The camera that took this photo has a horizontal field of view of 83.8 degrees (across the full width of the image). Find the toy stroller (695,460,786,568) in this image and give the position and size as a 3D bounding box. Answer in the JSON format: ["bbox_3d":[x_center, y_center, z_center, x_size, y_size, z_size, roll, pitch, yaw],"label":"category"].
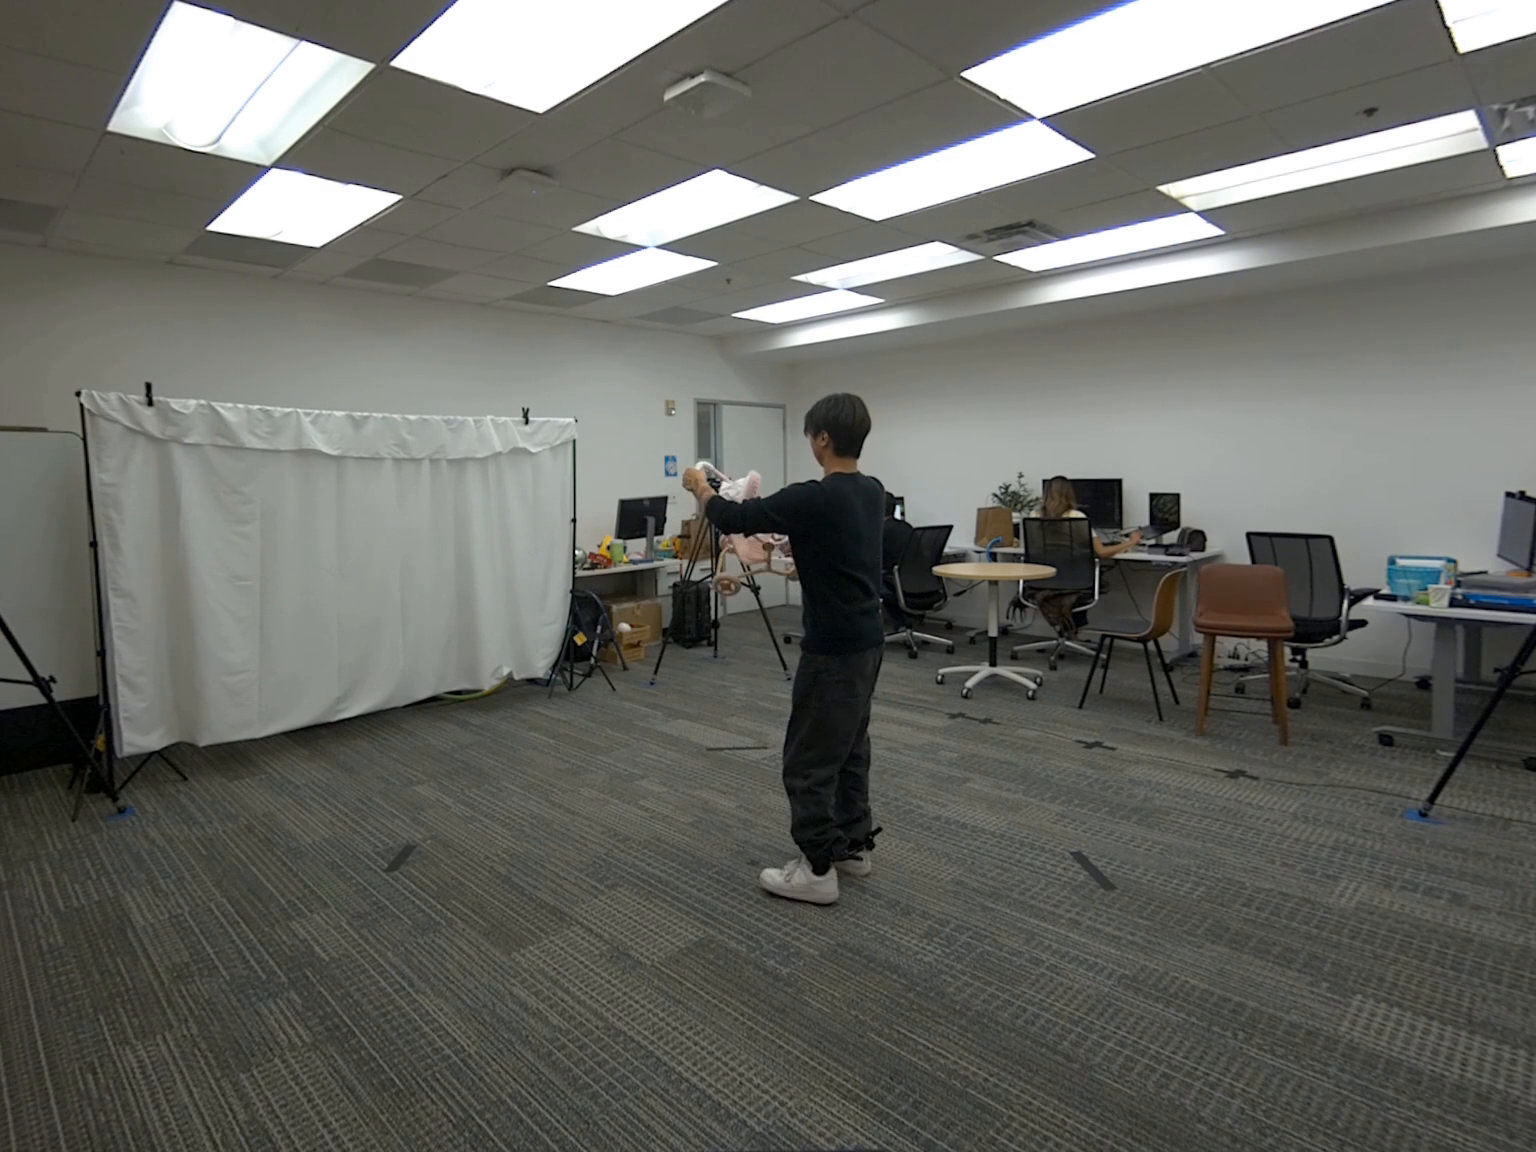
[{"bbox_3d":[-0.064,-0.170,3.168,0.346,0.518,0.286,-2,39,15],"label":"toy stroller"}]
